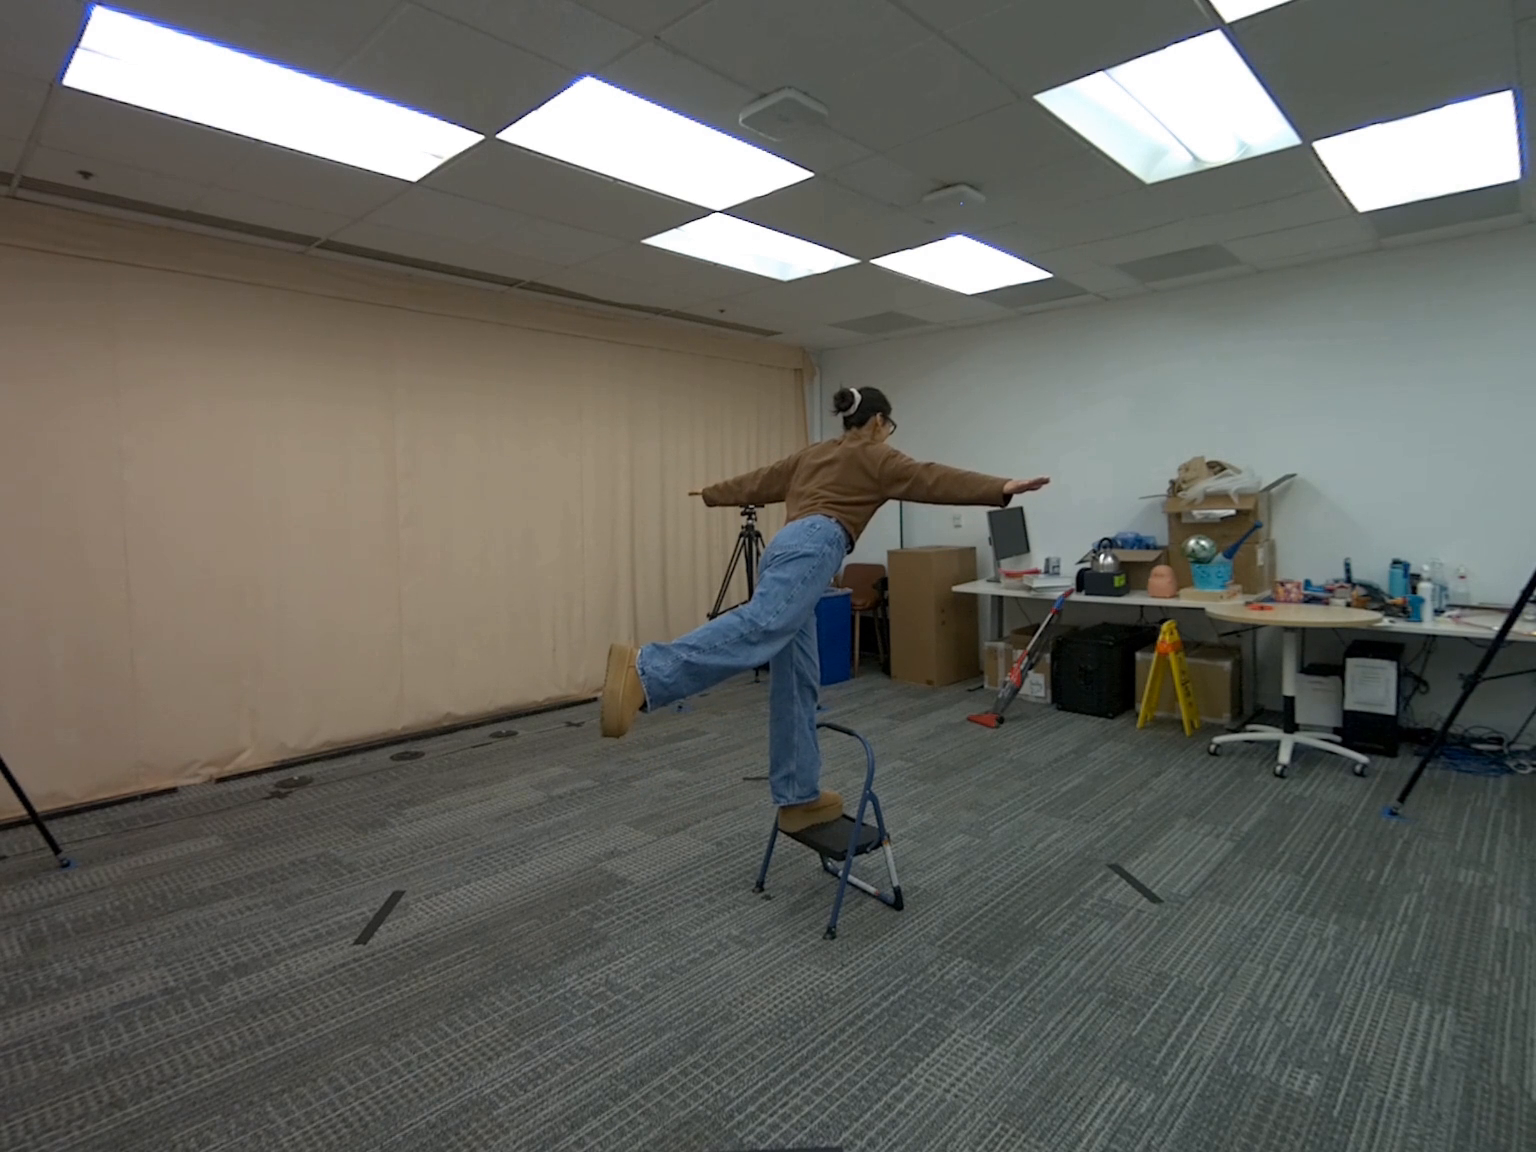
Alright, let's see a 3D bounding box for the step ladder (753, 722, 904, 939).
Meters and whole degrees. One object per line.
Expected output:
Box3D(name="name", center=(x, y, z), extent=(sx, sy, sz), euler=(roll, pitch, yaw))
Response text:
Box3D(name="step ladder", center=(0.209, 0.837, 2.938), extent=(0.339, 0.605, 0.444), euler=(-3, 4, -36))
